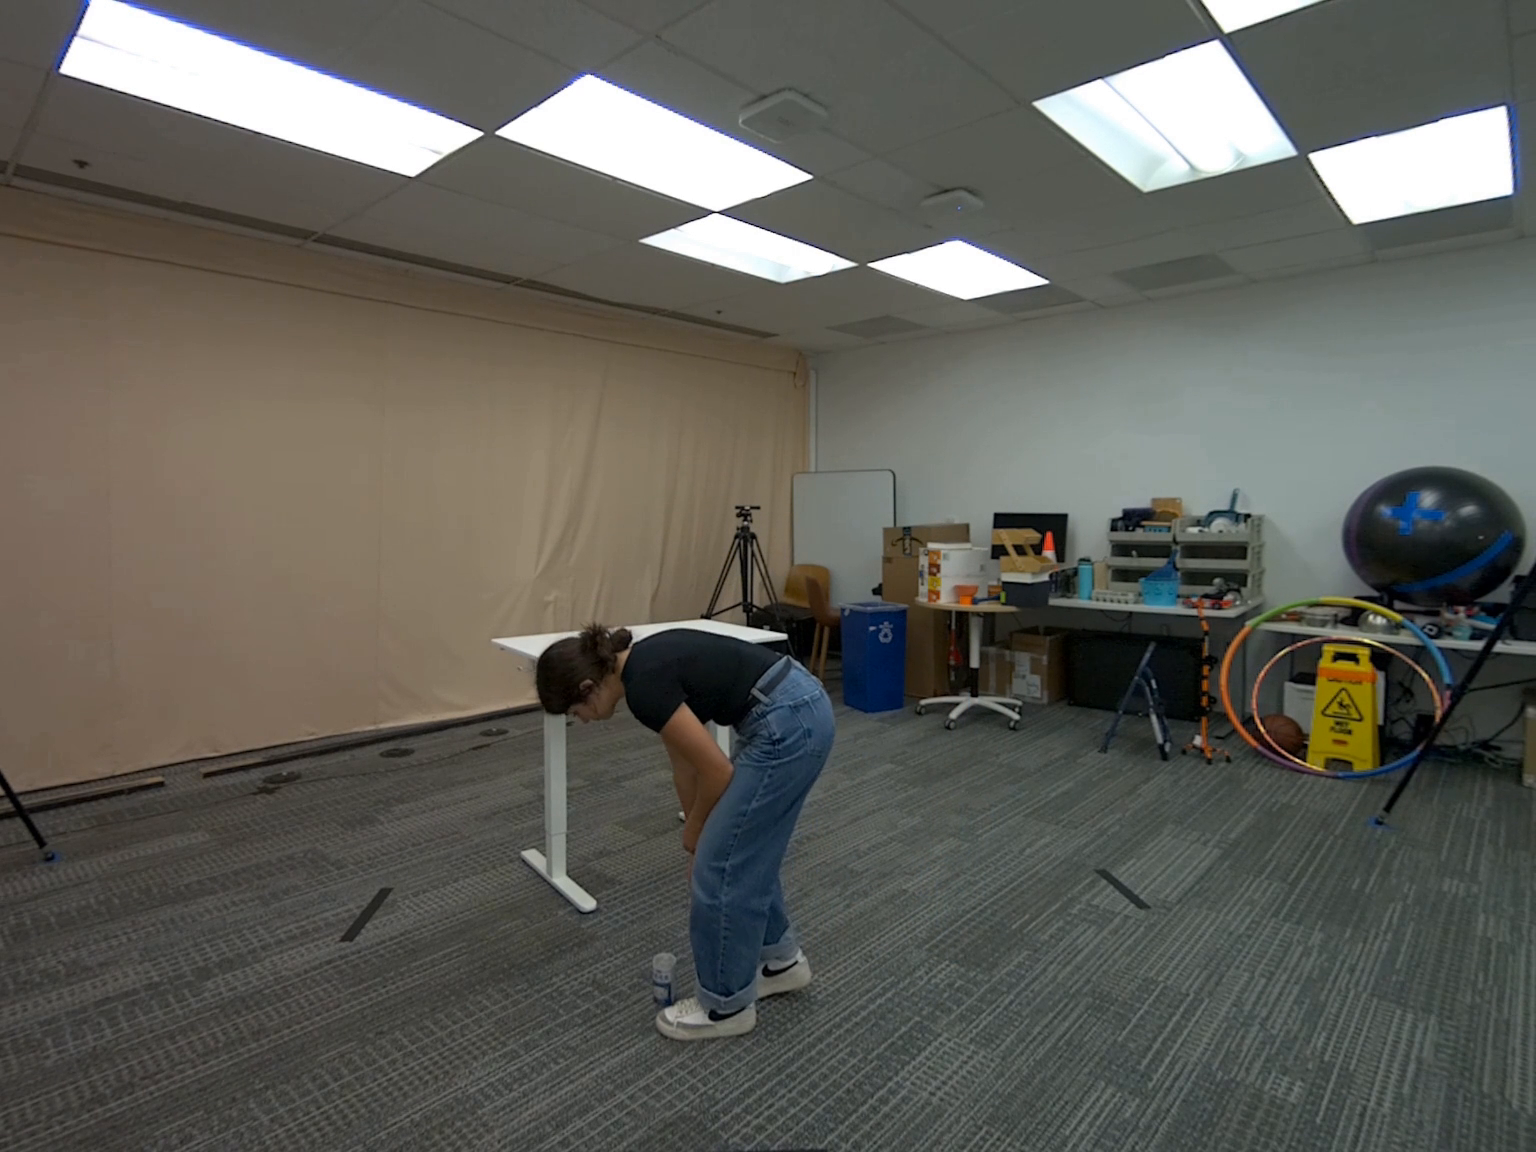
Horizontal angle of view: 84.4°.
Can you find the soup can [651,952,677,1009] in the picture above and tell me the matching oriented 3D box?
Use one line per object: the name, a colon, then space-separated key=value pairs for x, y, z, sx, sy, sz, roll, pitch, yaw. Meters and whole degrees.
soup can: x=-0.290 y=1.139 z=2.383 sx=0.067 sy=0.122 sz=0.067 roll=-2 pitch=-3 yaw=-2
